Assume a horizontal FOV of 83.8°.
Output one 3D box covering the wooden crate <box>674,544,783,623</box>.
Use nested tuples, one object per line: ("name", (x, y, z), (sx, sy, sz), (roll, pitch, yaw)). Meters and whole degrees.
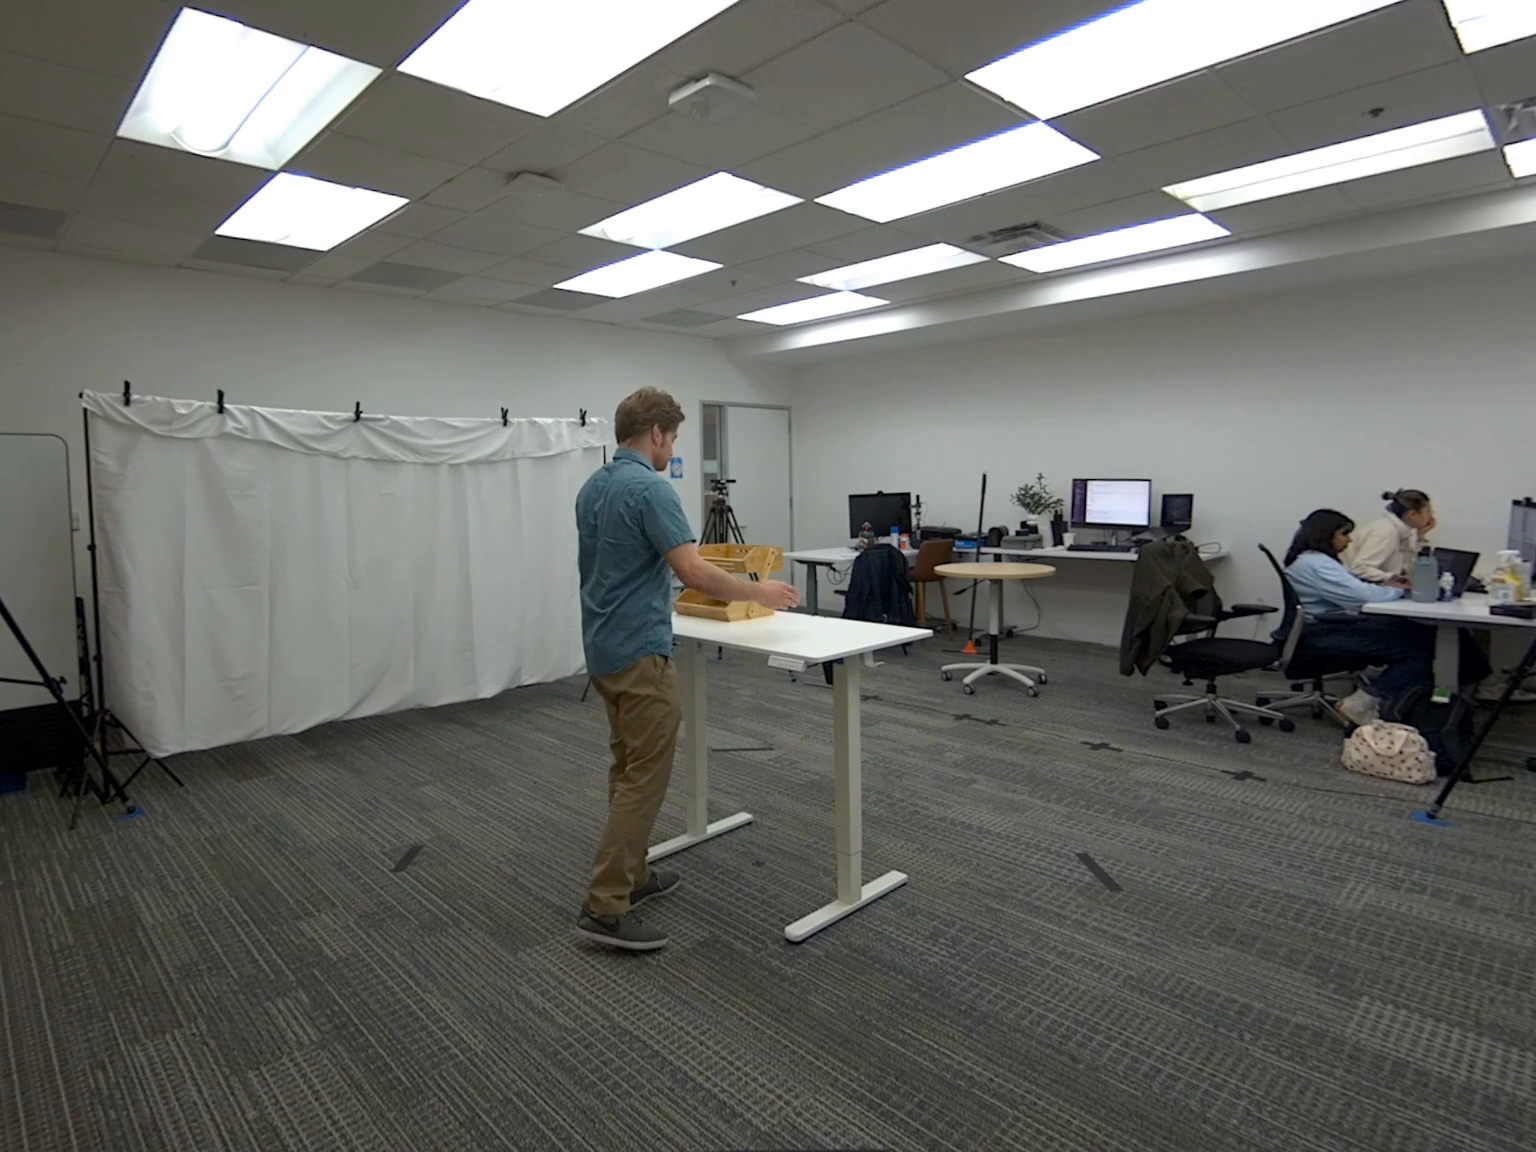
("wooden crate", (-0.153, 0.014, 3.290), (0.294, 0.272, 0.334), (-5, 6, -45))
